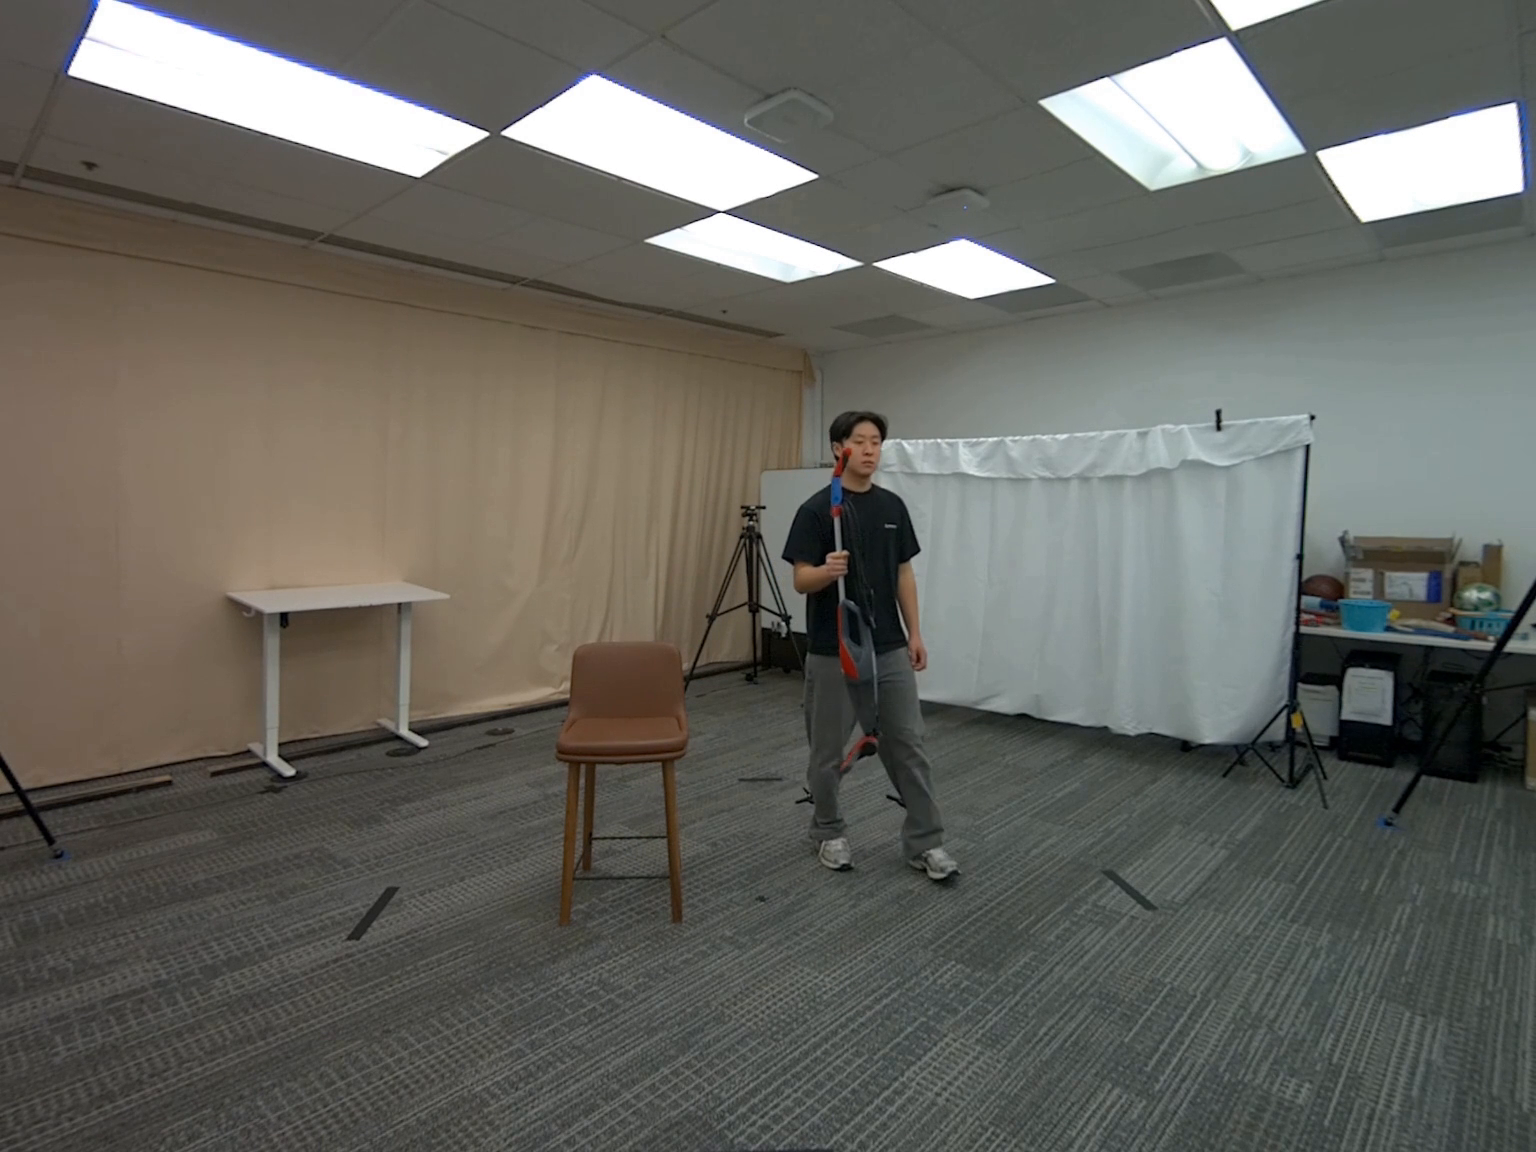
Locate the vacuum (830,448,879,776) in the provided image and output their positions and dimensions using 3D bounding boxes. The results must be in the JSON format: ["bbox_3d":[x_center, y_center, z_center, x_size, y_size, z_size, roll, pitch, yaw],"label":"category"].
[{"bbox_3d":[0.304,0.095,2.876,0.147,1.045,0.248,0,6,18],"label":"vacuum"}]
